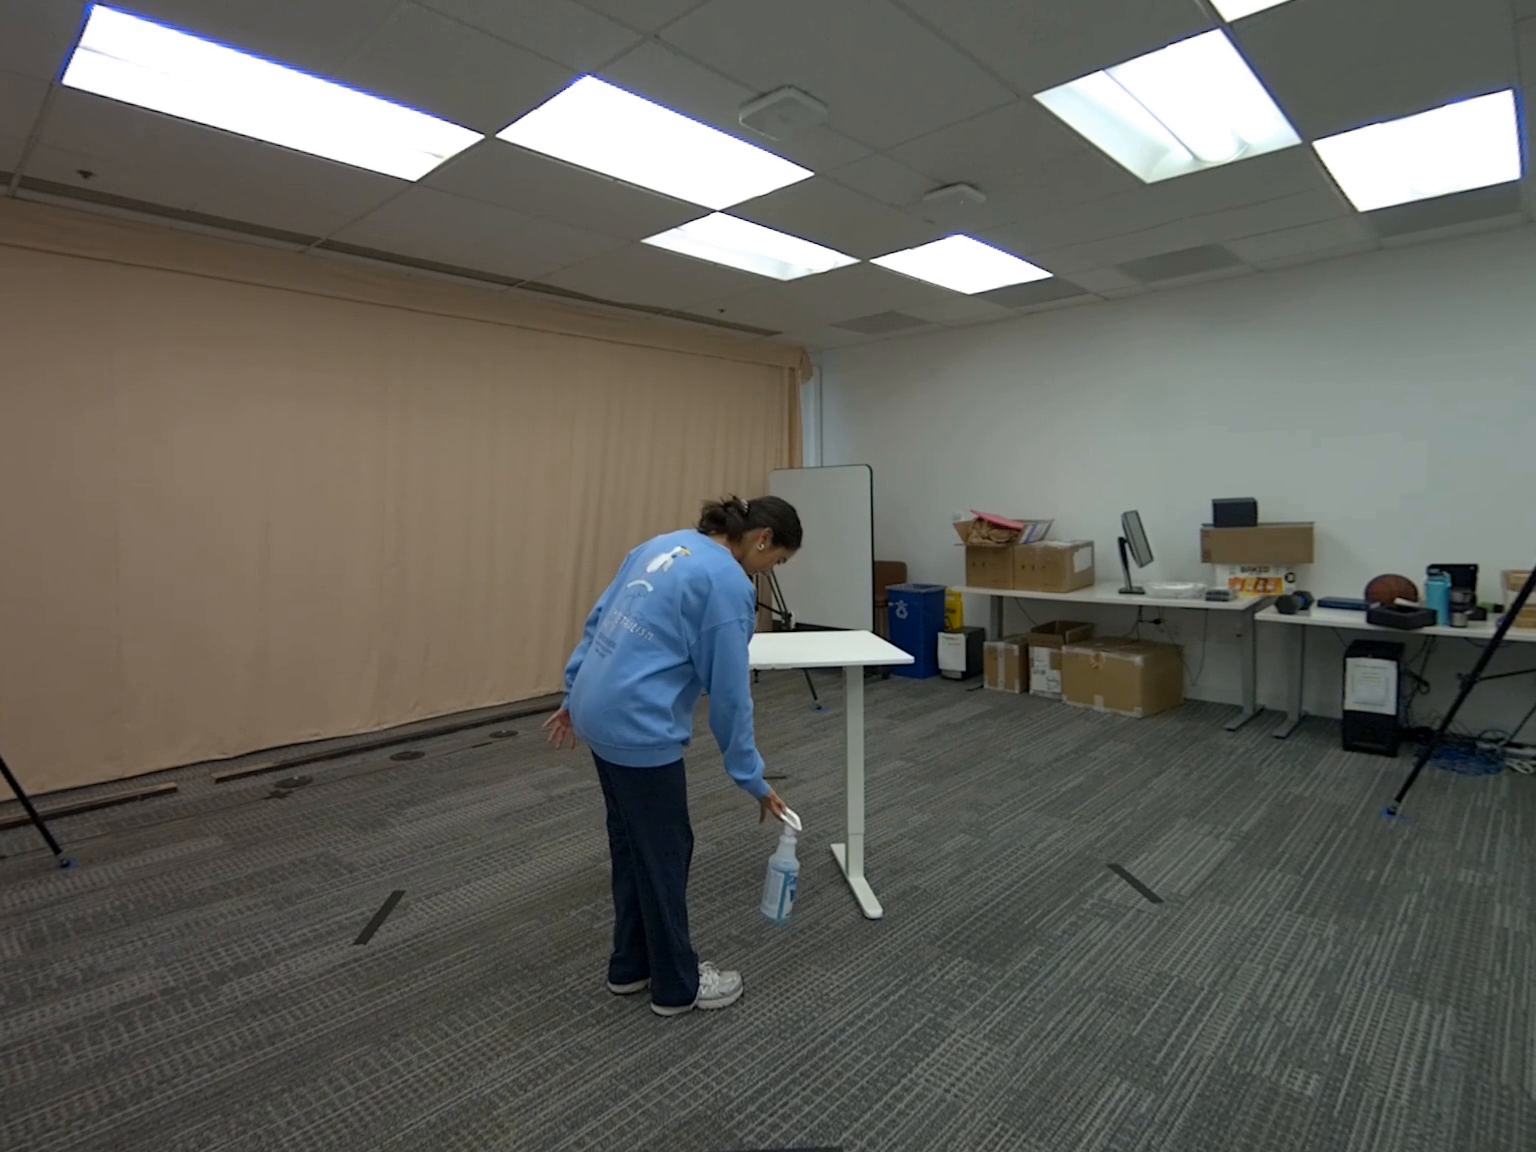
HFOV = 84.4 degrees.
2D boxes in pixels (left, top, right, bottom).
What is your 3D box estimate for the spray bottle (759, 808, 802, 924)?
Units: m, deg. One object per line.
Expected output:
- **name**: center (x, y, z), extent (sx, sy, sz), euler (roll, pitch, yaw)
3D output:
- **spray bottle**: center (0.048, 0.802, 2.307), extent (0.086, 0.297, 0.091), euler (9, 2, -11)
